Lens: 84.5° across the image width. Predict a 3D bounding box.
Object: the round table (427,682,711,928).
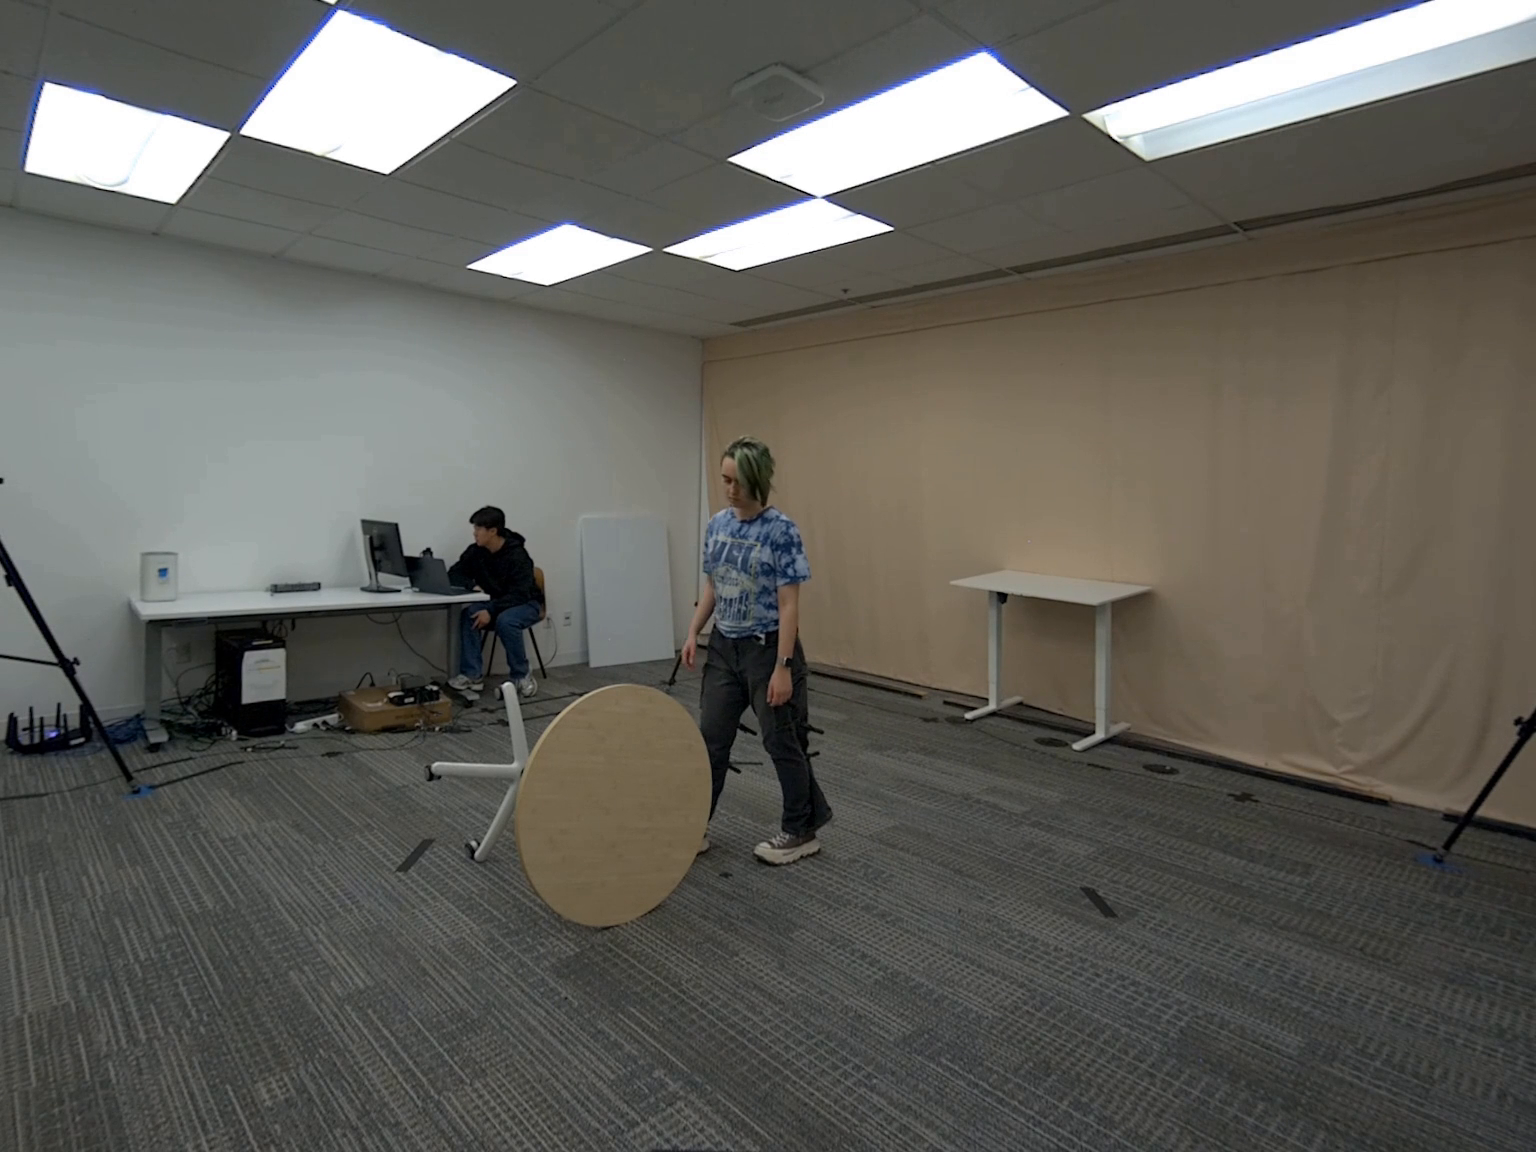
[{"bbox_3d":[-0.754,0.754,3.055,0.746,0.764,0.811,-3,-1,-43],"label":"round table"}]
